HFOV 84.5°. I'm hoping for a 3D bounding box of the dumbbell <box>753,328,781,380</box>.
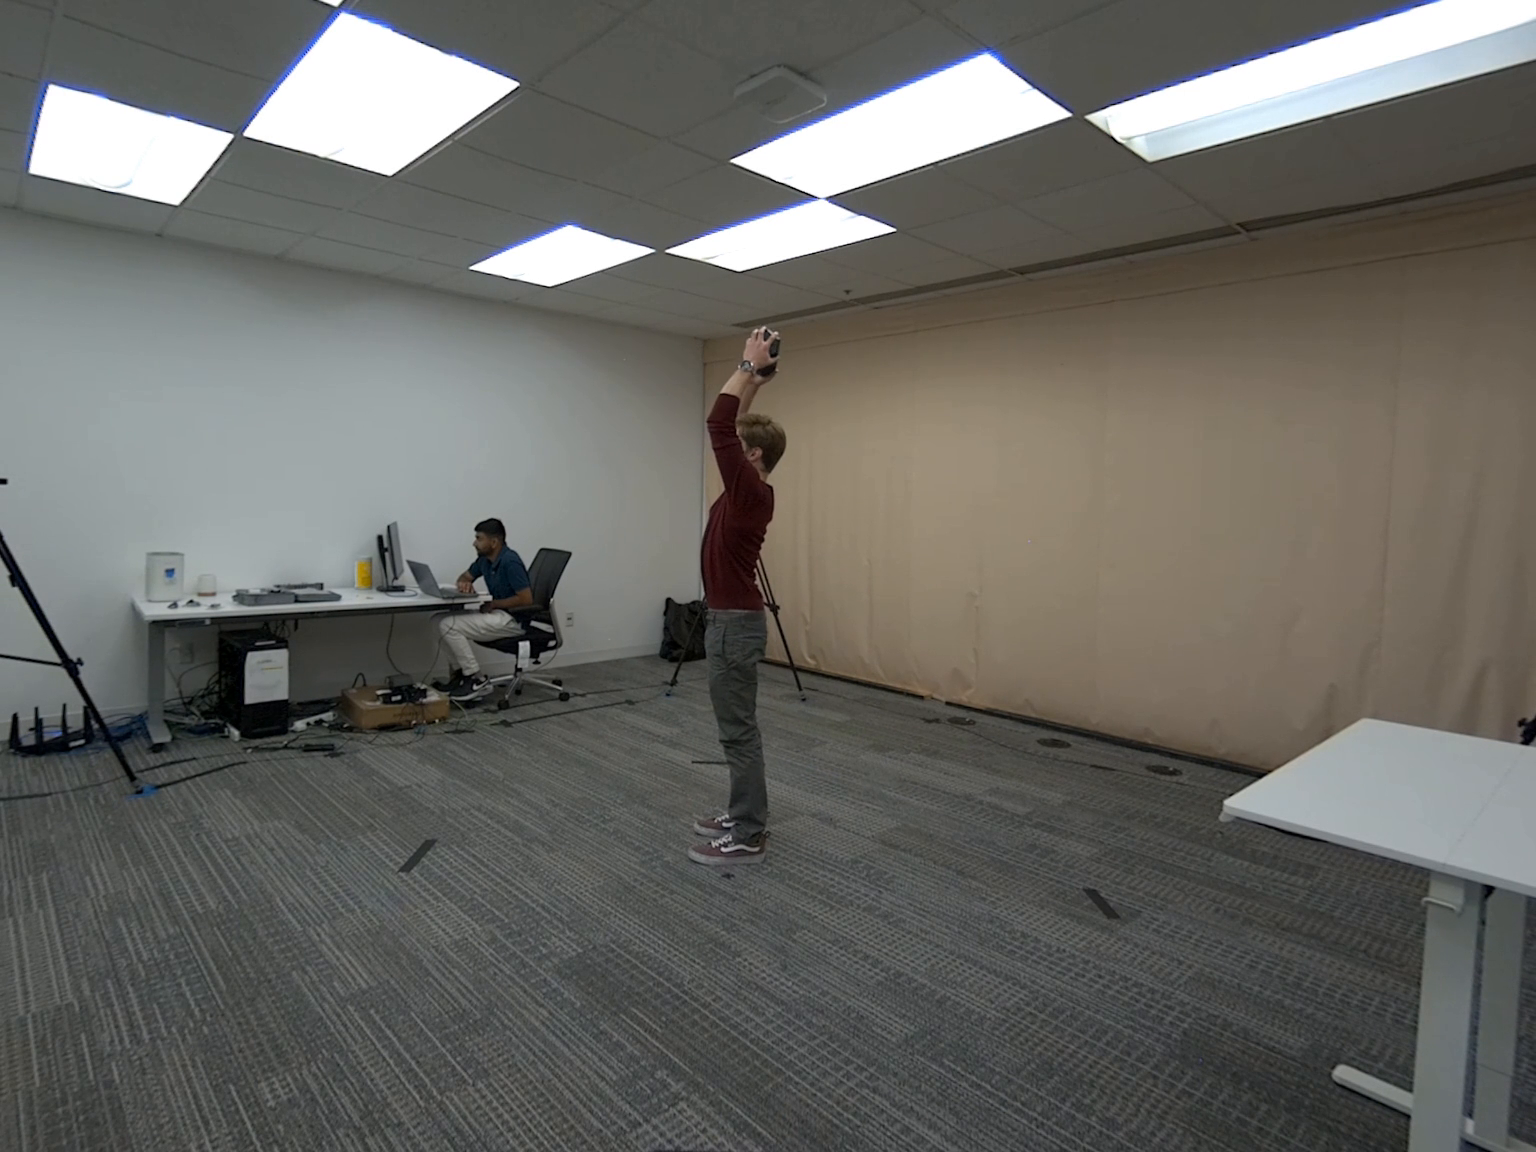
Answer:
[{"bbox_3d":[-0.026,-0.871,3.306,0.123,0.109,0.293,-20,1,-1],"label":"dumbbell"}]
